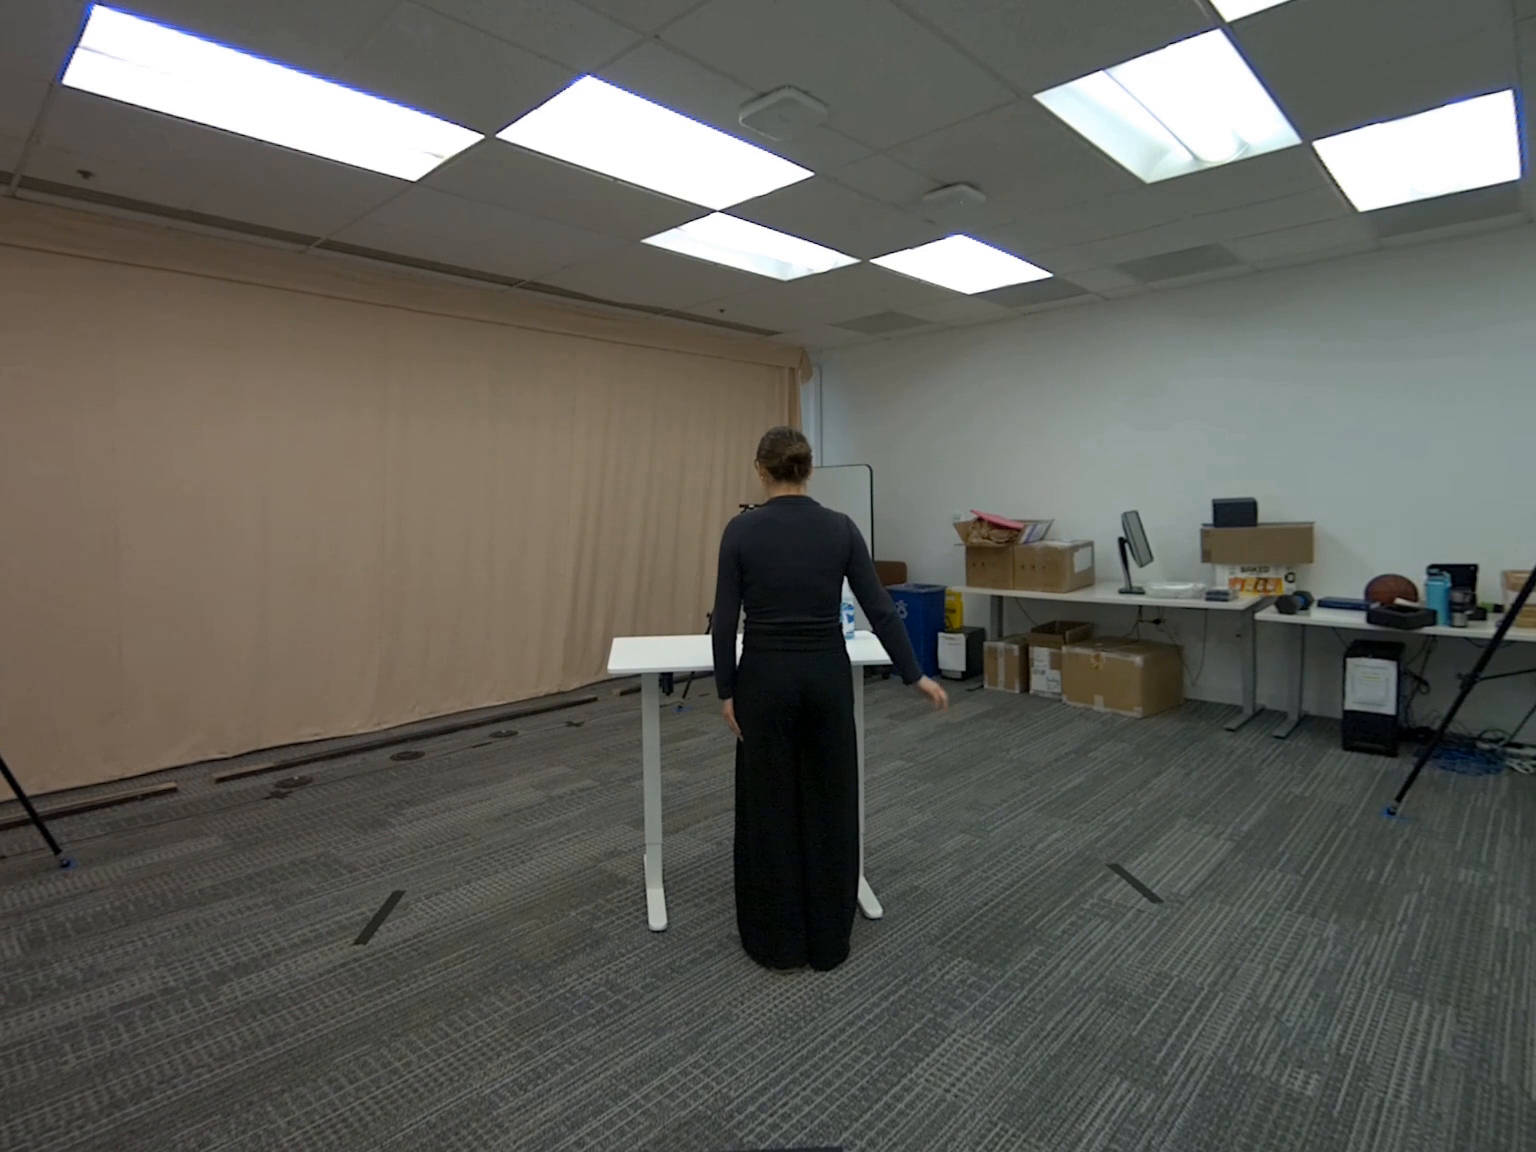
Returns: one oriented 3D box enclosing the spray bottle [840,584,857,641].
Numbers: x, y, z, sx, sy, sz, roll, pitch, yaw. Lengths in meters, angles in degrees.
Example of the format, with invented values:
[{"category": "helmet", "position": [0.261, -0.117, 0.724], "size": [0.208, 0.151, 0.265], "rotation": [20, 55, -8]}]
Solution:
[{"category": "spray bottle", "position": [0.297, 0.091, 3.189], "size": [0.088, 0.296, 0.089], "rotation": [-1, 4, 15]}]
